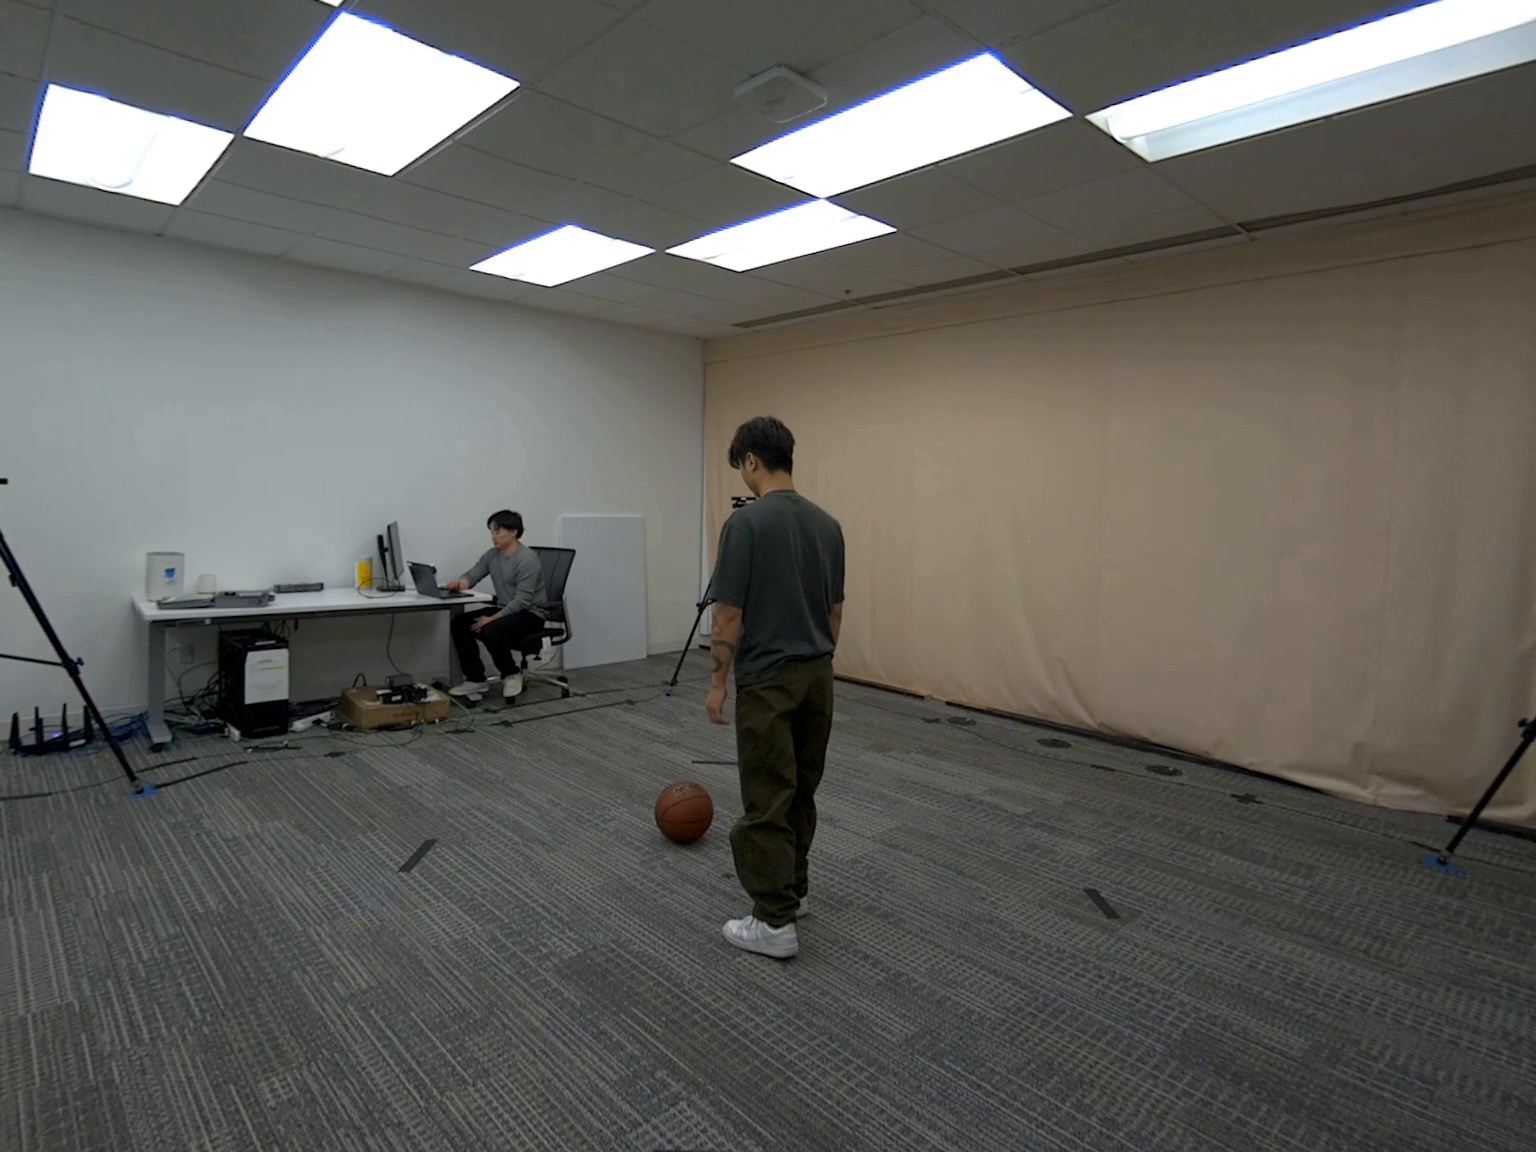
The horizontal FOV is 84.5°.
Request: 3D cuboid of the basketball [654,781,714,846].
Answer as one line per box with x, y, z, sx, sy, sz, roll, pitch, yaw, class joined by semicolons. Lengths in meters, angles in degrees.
-0.348;0.951;3.407;0.236;0.235;0.237;1;4;-1;basketball
